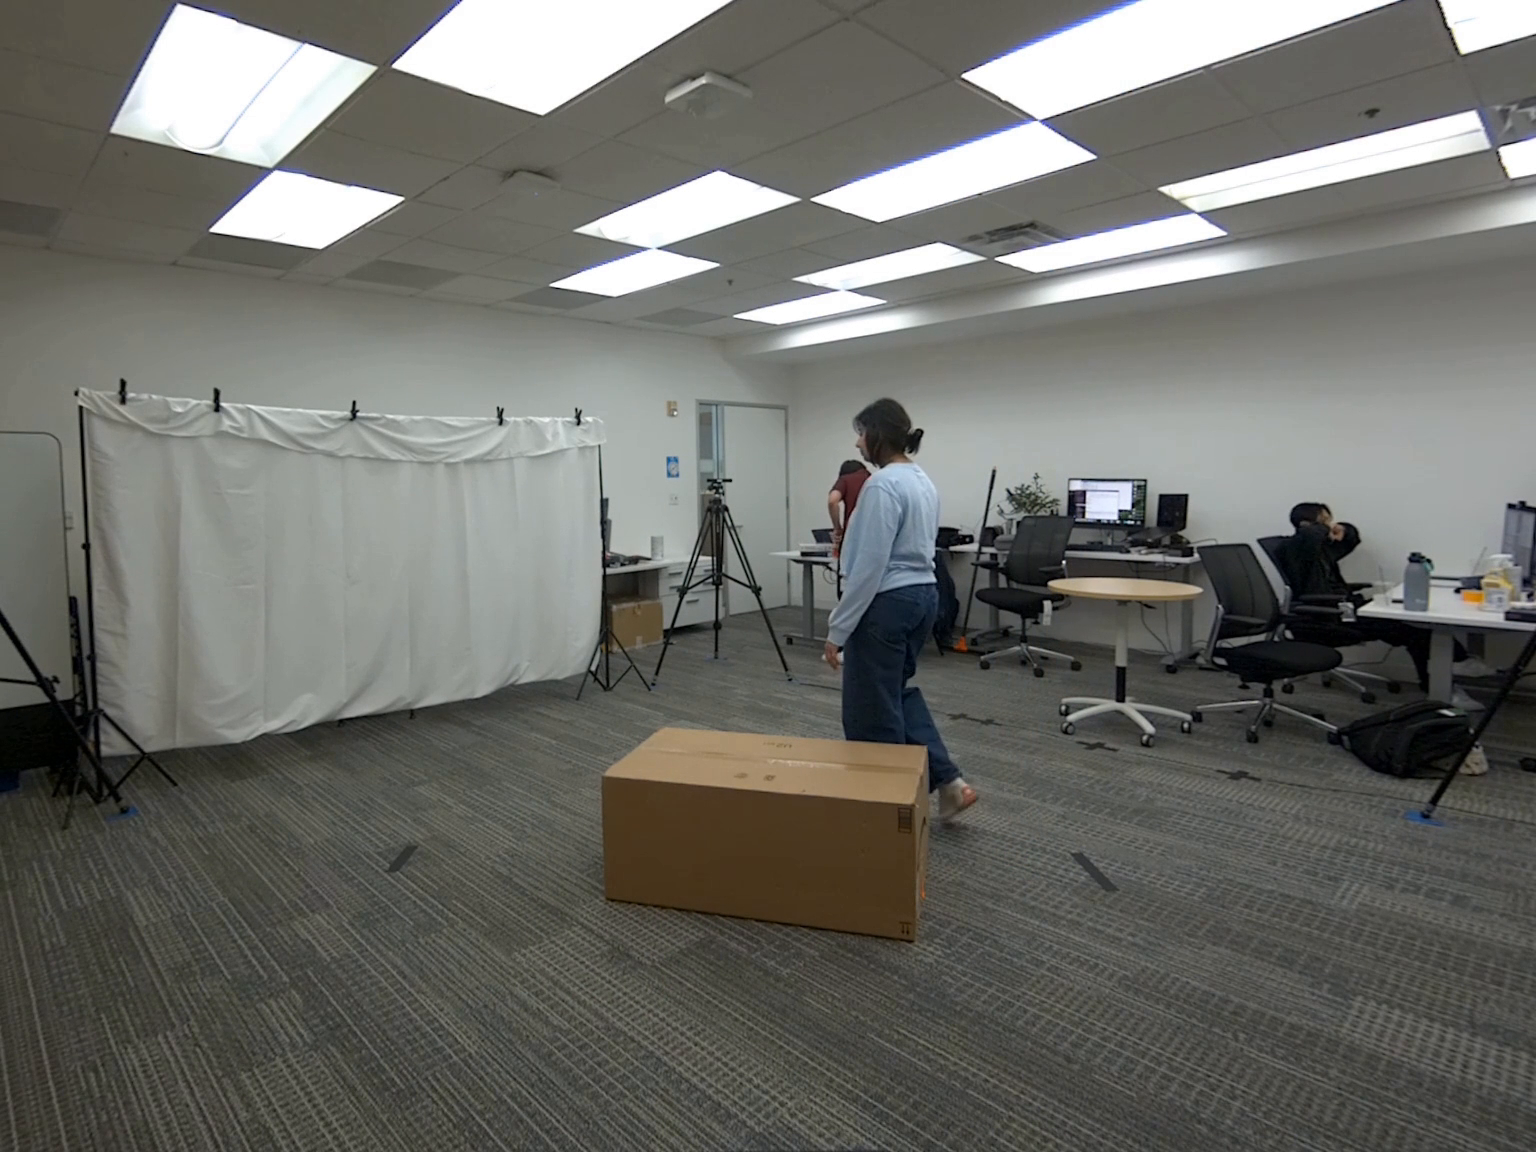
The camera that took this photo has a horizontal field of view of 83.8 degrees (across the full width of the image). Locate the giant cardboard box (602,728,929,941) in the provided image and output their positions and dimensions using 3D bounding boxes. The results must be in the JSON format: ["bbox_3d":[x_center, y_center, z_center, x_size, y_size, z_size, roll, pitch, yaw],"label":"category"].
[{"bbox_3d":[0.010,0.844,2.965,1.043,0.424,0.571,1,6,17],"label":"giant cardboard box"}]
